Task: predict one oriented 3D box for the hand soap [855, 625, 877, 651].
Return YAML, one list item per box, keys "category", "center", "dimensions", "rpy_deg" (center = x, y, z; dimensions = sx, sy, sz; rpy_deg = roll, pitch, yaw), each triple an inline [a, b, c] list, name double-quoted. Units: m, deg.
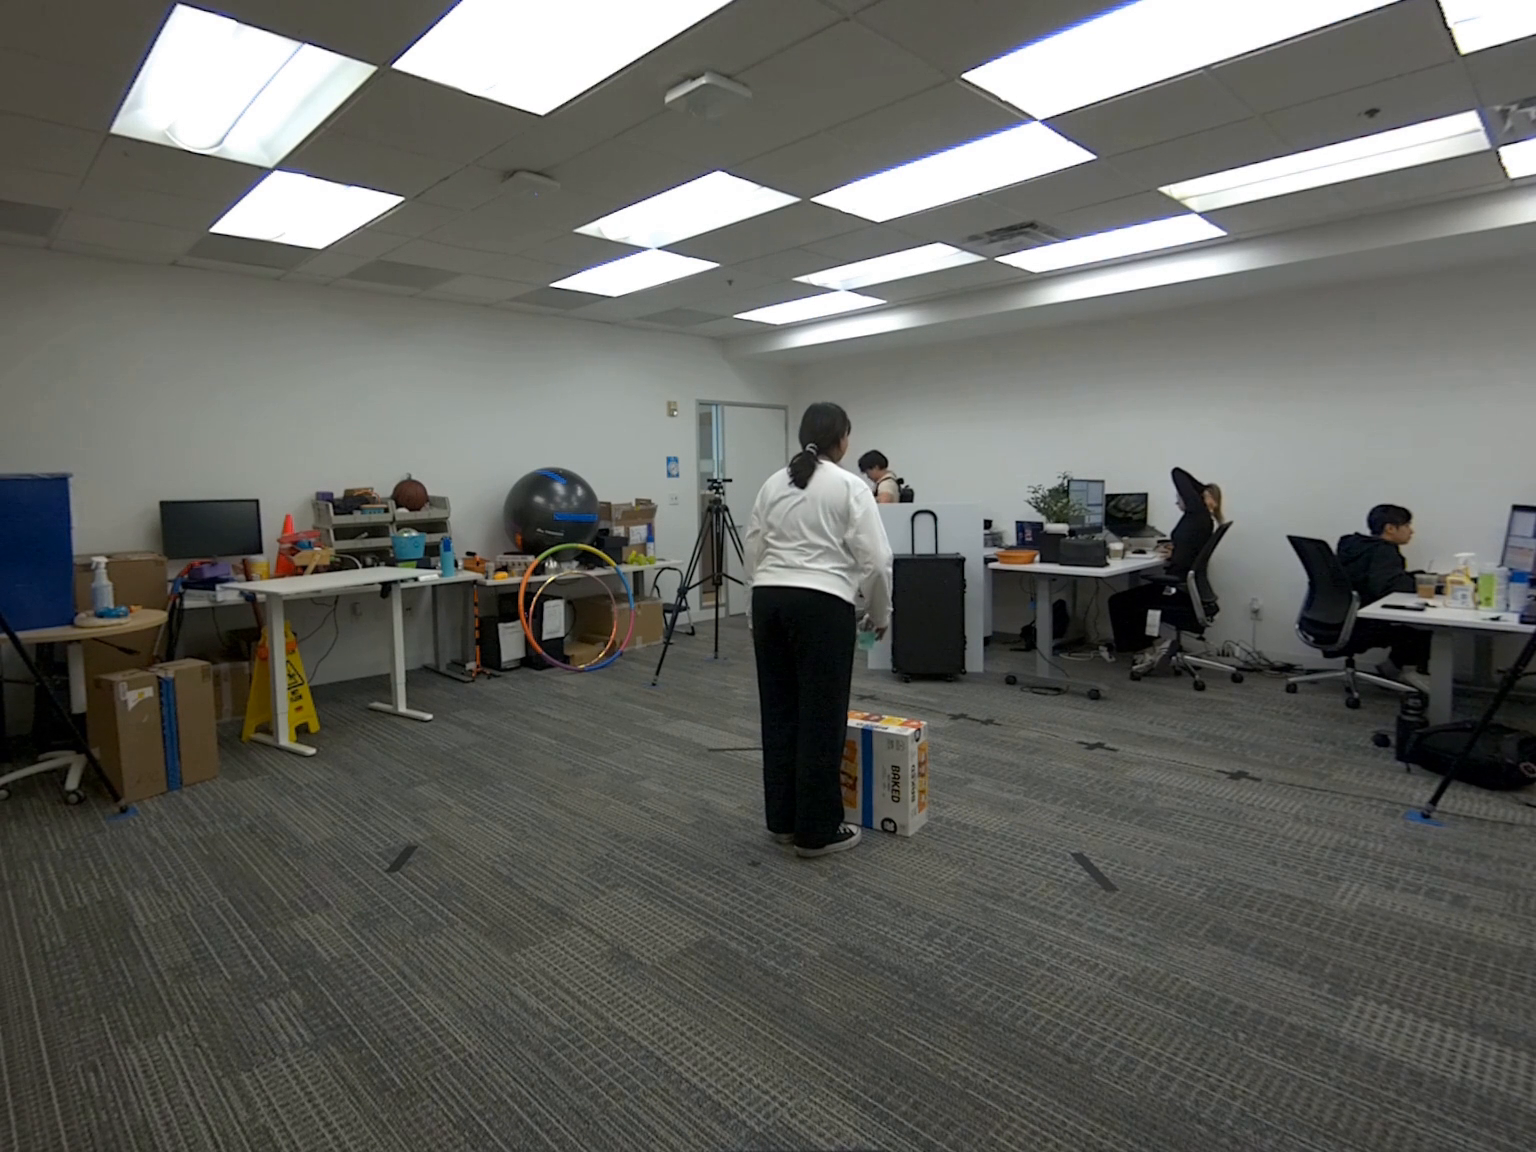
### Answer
- category: "hand soap"
  center: [0.394, 0.206, 3.385]
  dimensions: [0.087, 0.167, 0.042]
  rpy_deg: [12, 10, 34]
